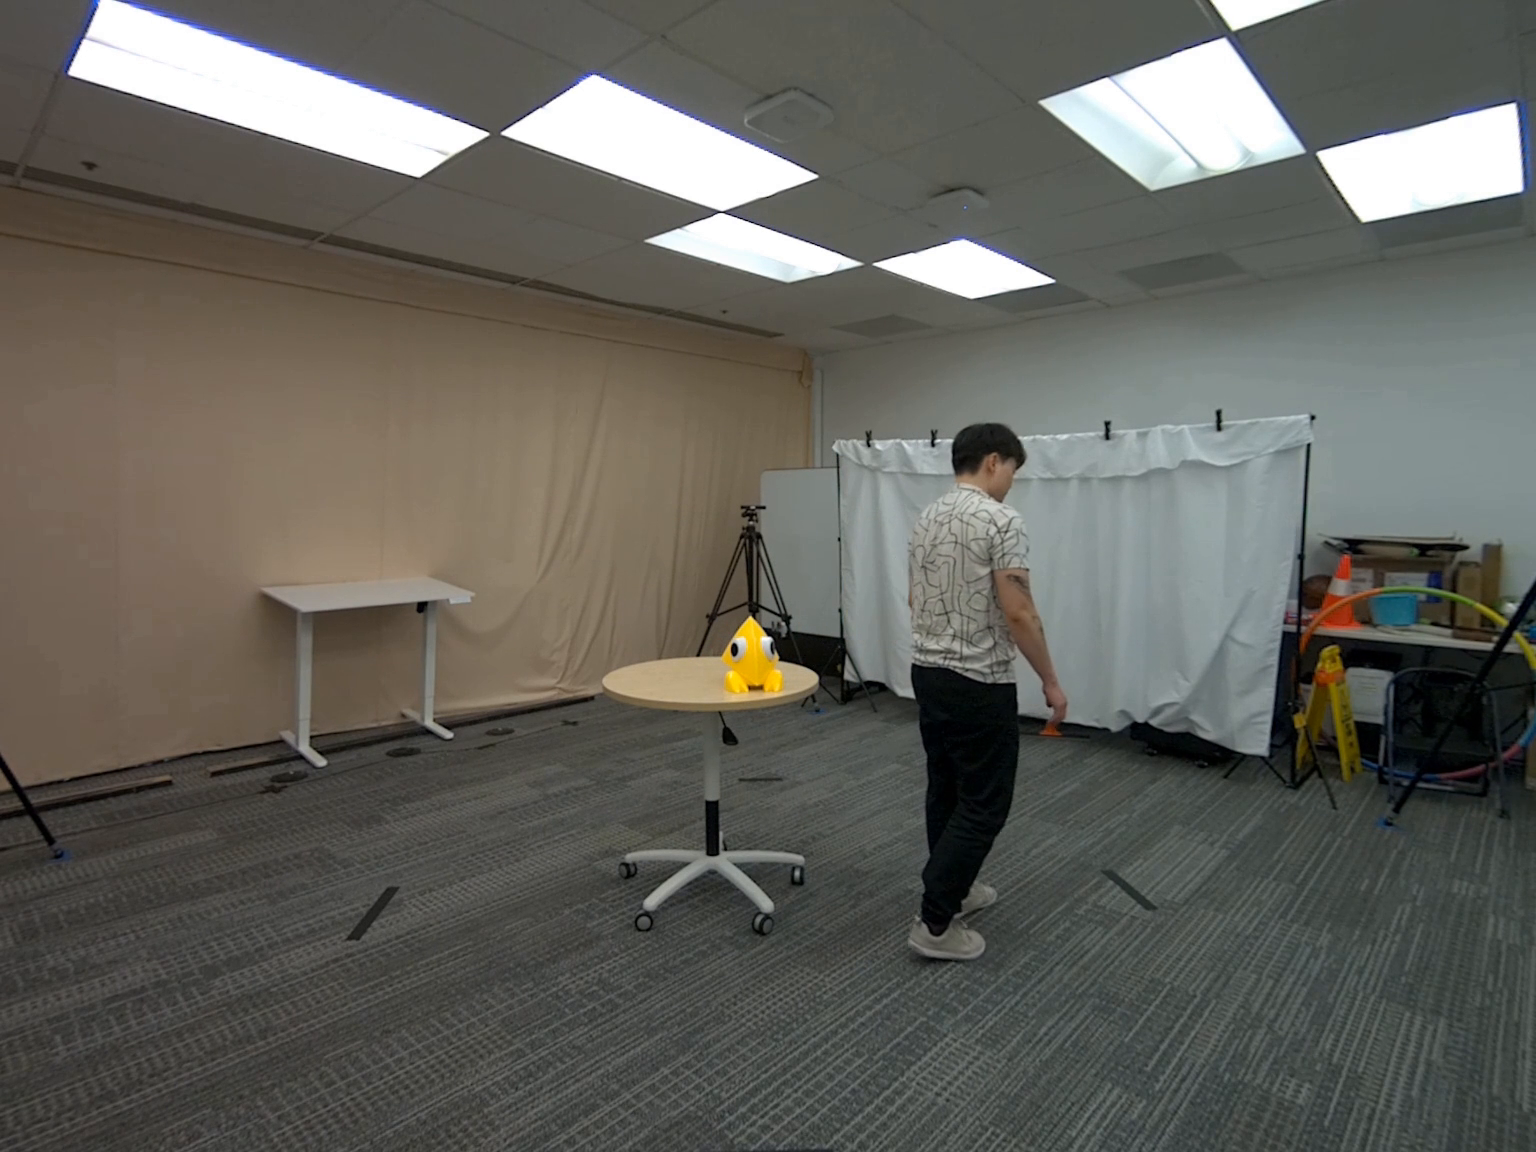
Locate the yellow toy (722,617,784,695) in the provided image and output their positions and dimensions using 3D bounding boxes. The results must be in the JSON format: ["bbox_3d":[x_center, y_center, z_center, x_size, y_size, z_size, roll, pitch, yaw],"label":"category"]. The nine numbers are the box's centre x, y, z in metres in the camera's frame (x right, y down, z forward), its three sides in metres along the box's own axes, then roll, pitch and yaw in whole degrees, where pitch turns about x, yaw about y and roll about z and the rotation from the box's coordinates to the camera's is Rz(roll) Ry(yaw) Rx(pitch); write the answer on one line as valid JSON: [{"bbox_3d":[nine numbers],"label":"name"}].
[{"bbox_3d":[-0.045,0.264,2.833,0.203,0.230,0.194,0,3,-6],"label":"yellow toy"}]
